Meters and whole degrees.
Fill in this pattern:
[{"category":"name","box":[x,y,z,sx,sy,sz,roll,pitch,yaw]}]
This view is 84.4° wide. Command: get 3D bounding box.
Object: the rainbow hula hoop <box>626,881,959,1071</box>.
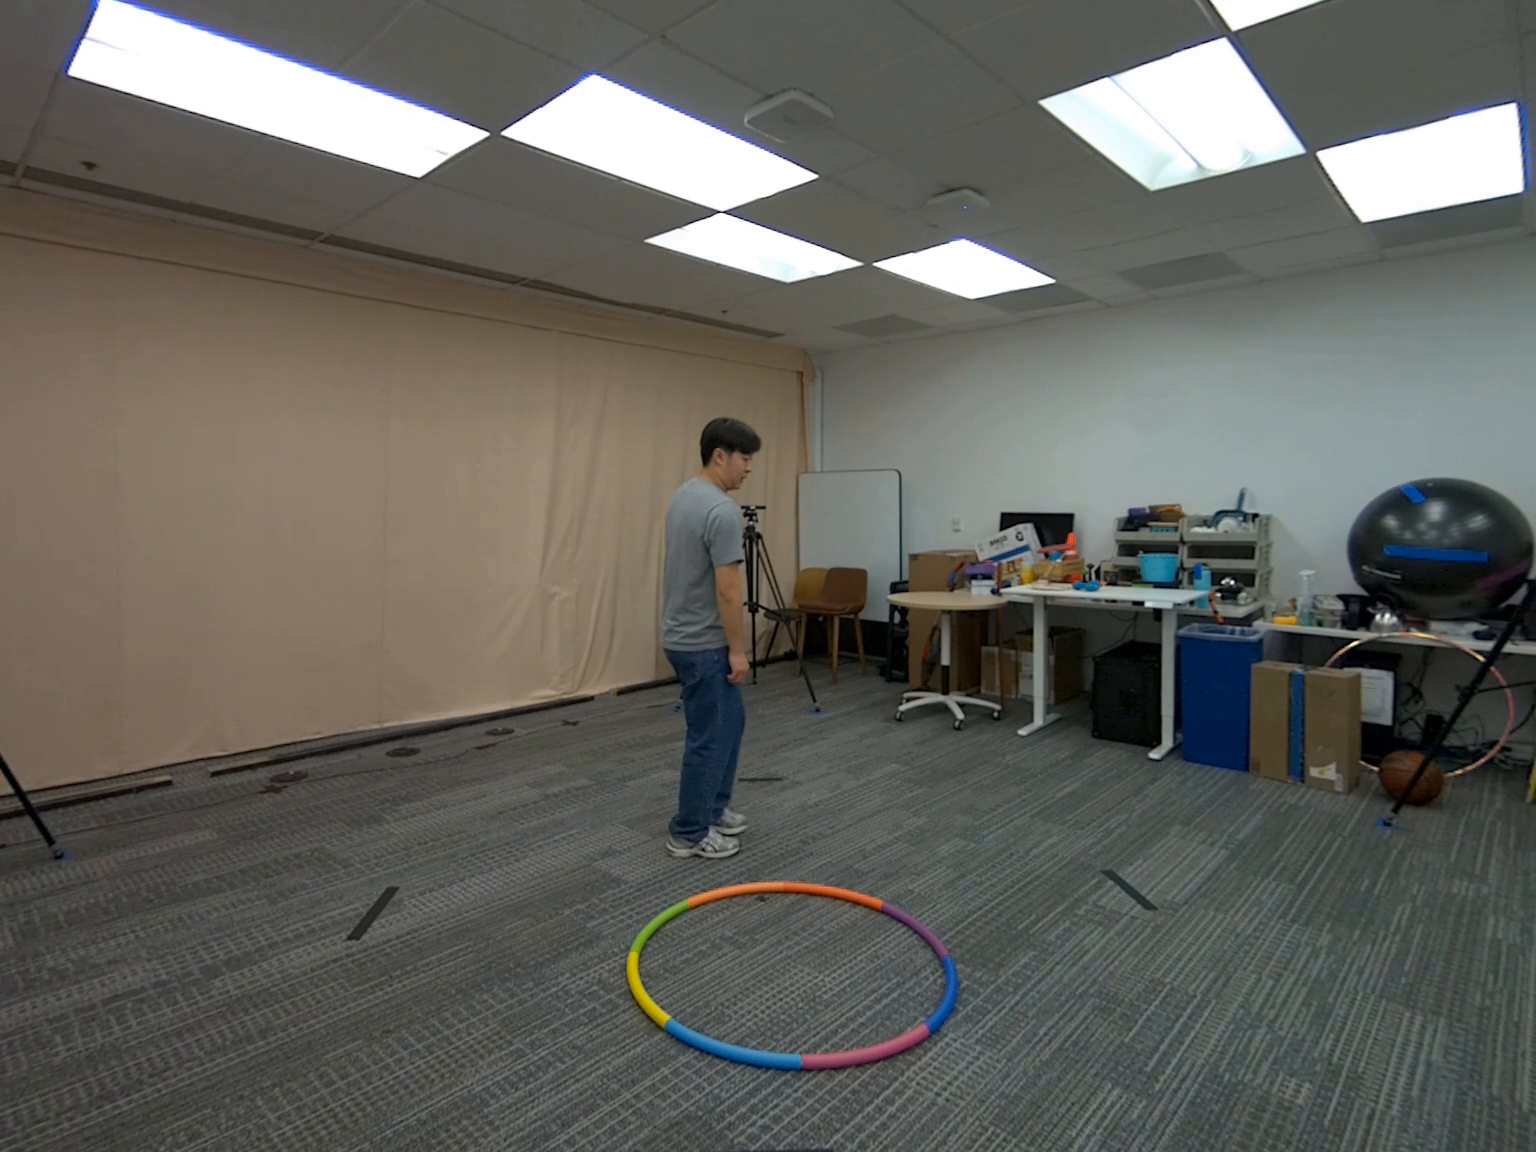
[{"category":"rainbow hula hoop","box":[0.070,1.146,2.563,0.978,0.035,0.982,0,4,-2]}]
